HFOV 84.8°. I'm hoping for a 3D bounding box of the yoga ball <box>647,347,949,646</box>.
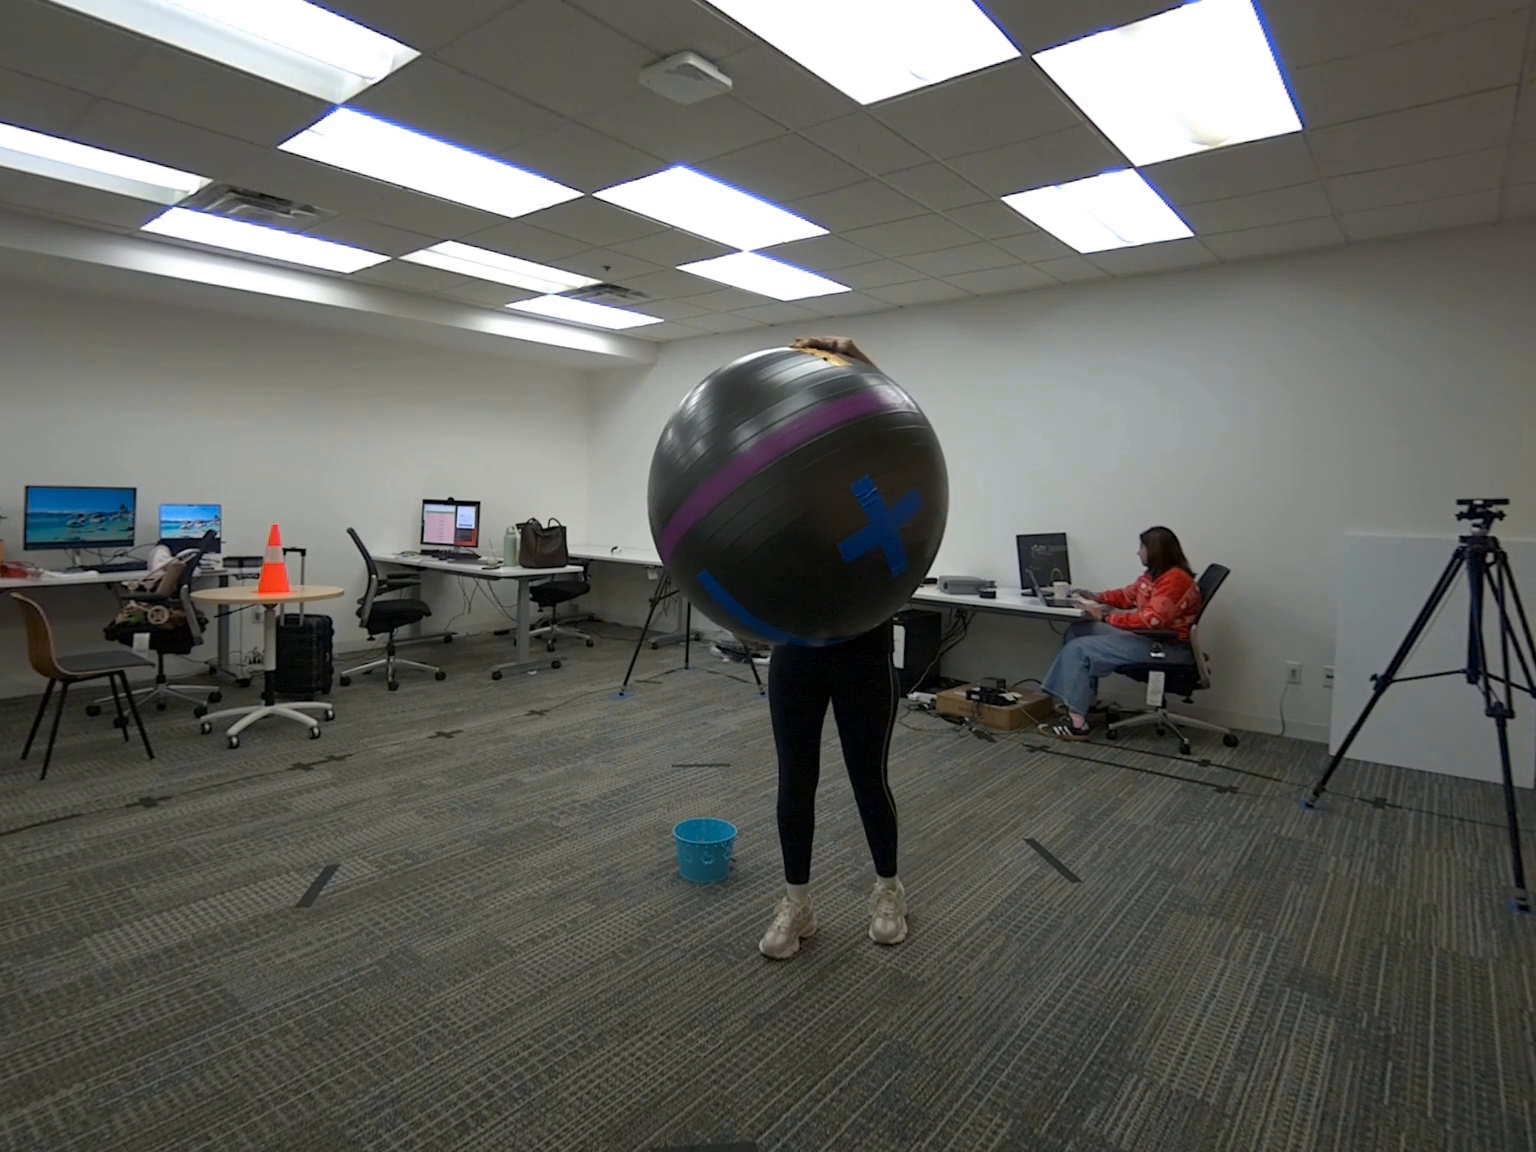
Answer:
[{"bbox_3d":[0.062,-0.193,2.154,0.757,0.756,0.761,1,4,-2],"label":"yoga ball"}]
